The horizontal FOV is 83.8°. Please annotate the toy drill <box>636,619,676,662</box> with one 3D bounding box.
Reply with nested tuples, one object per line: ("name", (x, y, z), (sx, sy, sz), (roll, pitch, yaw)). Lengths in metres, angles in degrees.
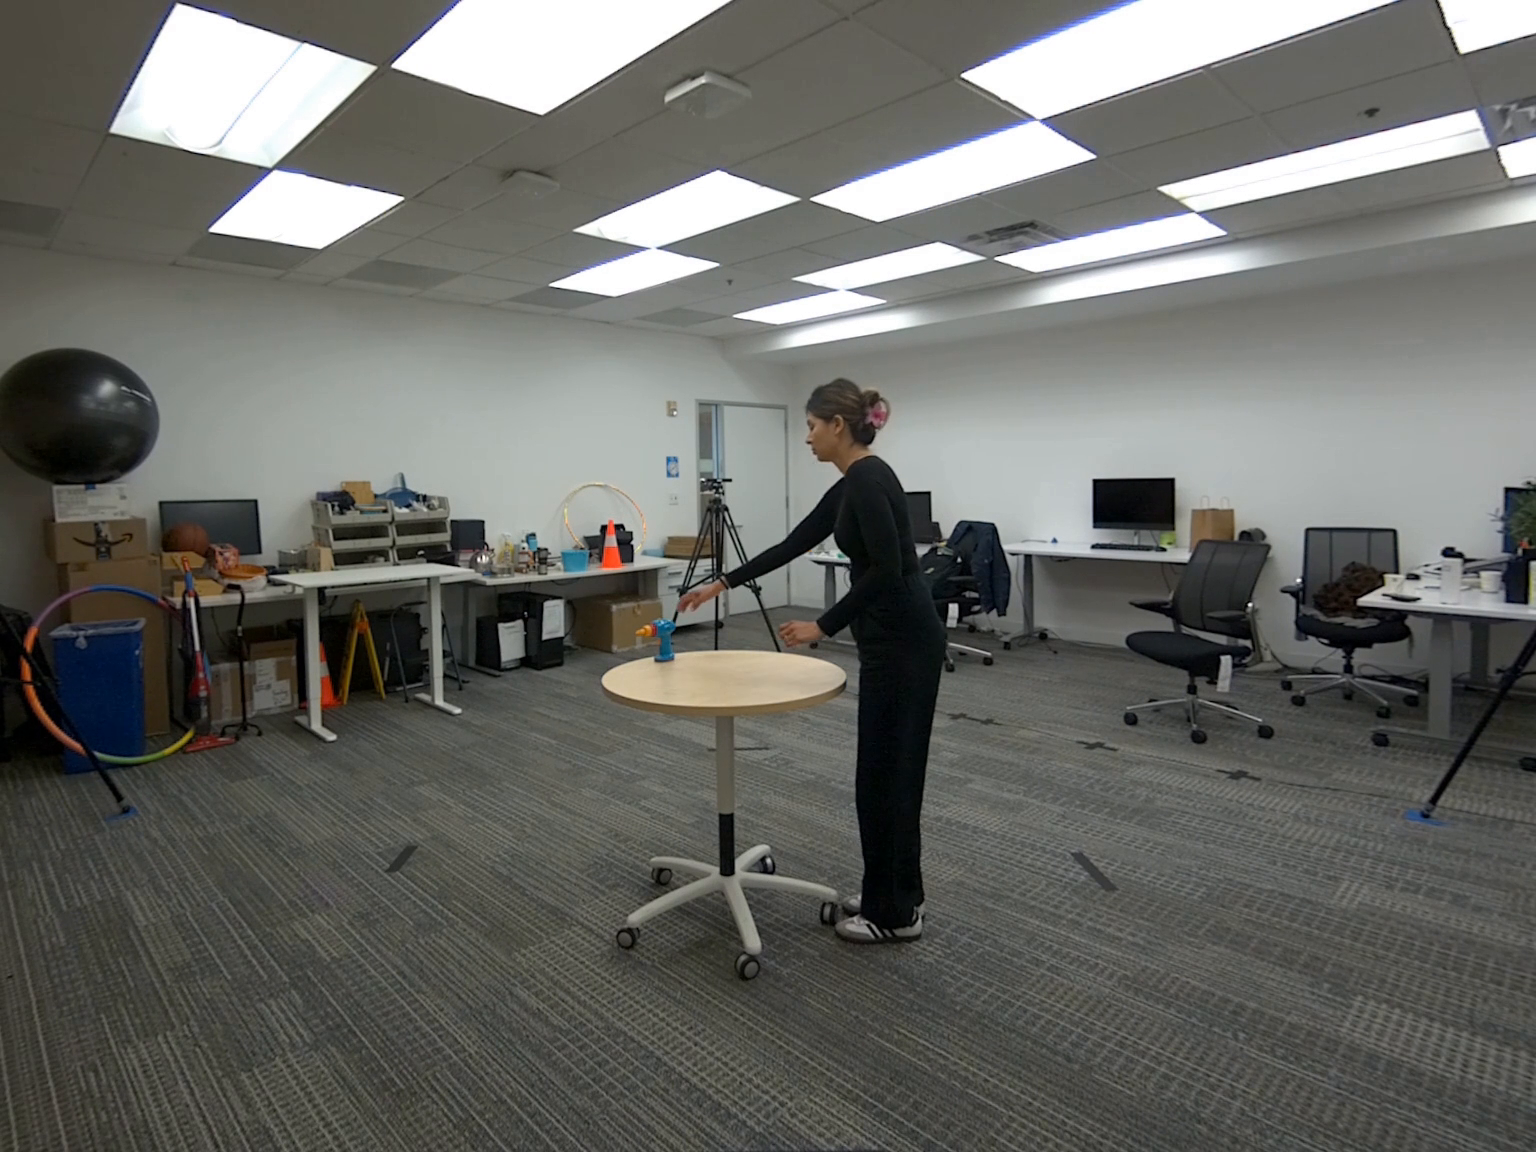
("toy drill", (-0.379, 0.219, 2.889), (0.063, 0.145, 0.165), (1, 5, 40))
